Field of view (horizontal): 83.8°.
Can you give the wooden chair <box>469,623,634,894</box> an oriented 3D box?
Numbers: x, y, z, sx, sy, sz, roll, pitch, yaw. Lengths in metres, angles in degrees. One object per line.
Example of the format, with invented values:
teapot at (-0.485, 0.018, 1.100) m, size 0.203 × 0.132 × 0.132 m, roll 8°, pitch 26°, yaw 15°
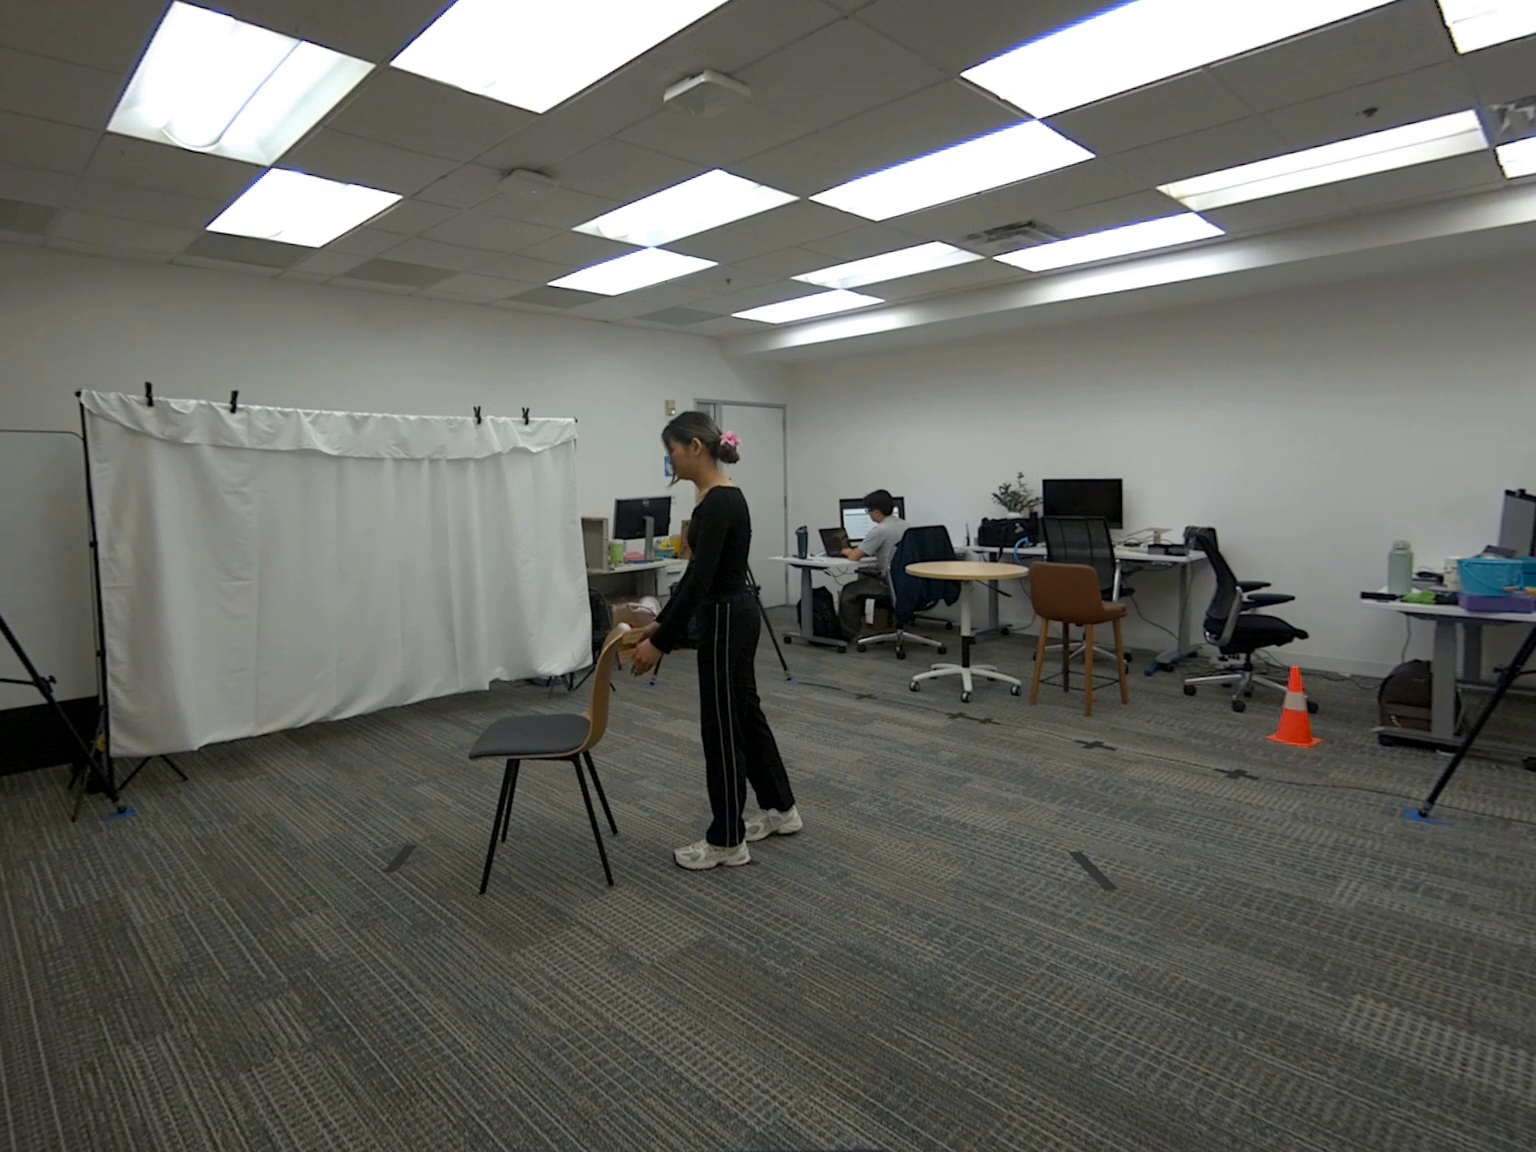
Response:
wooden chair at (-0.804, 0.626, 3.108) m, size 0.520 × 0.874 × 0.483 m, roll 3°, pitch 4°, yaw -7°
